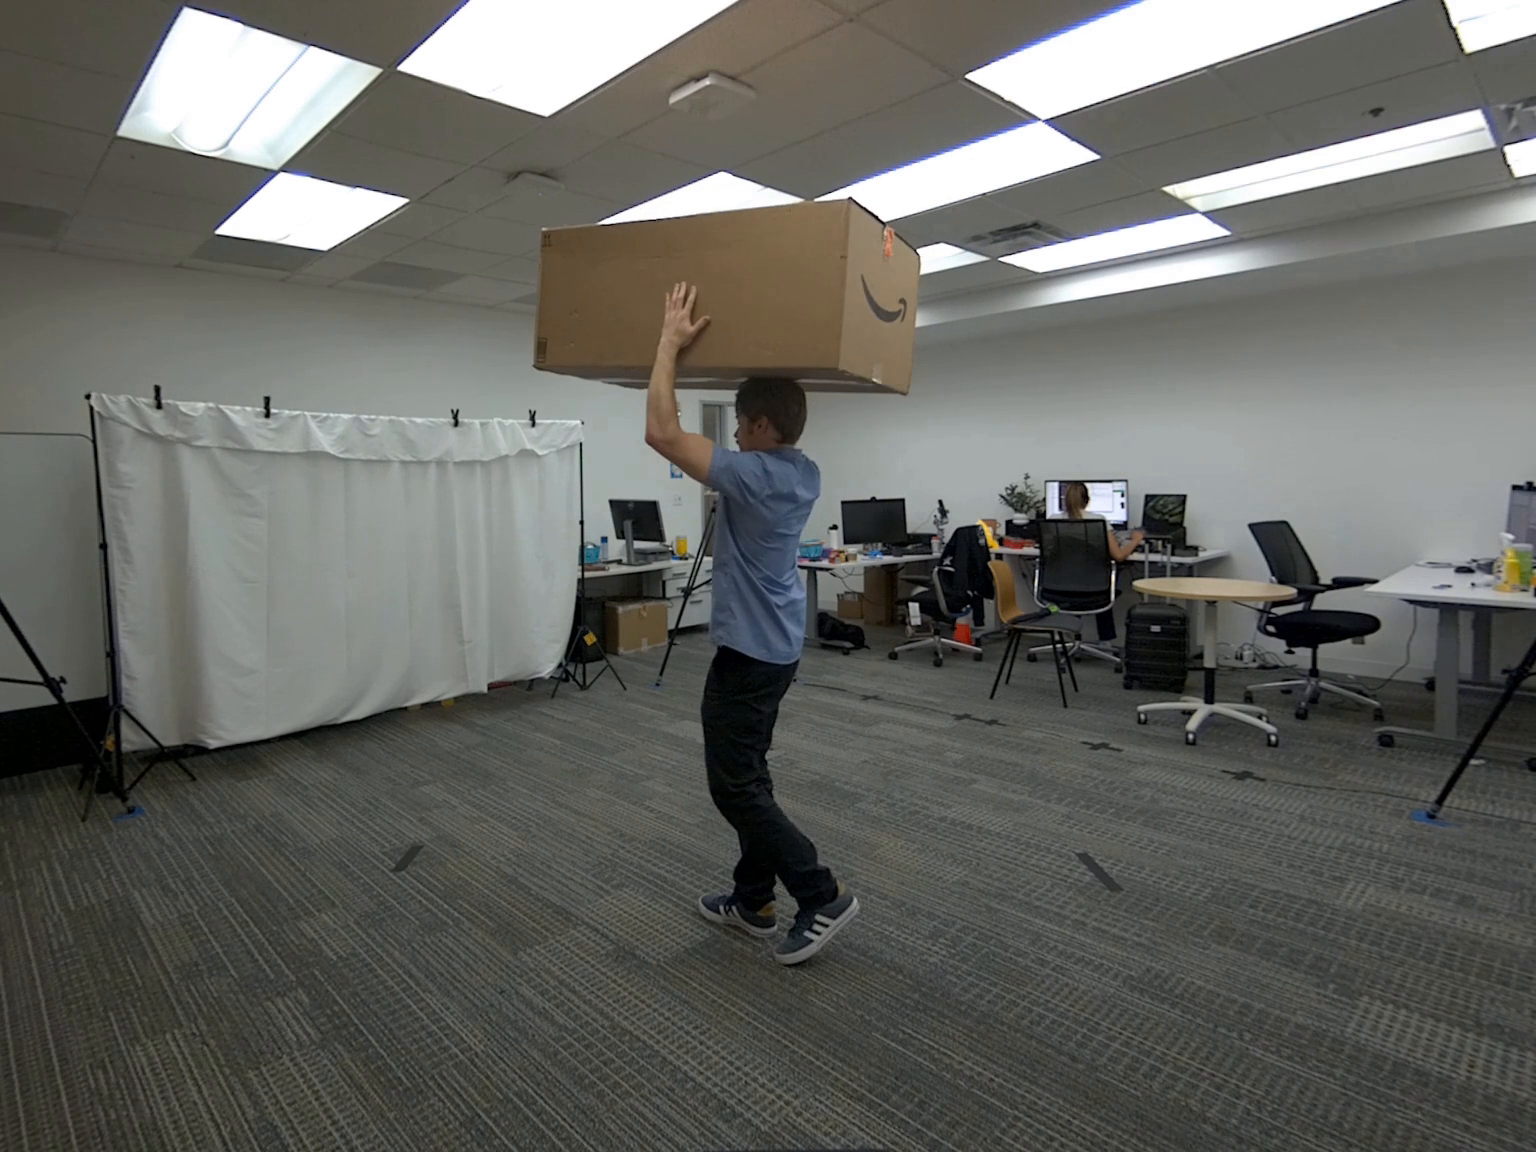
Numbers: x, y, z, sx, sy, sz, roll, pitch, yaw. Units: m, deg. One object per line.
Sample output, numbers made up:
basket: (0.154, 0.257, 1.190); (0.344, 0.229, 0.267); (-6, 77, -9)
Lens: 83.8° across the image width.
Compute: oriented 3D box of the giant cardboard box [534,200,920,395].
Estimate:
giant cardboard box: (-0.128, -0.807, 2.609); (1.054, 0.424, 0.564); (7, 6, 29)
